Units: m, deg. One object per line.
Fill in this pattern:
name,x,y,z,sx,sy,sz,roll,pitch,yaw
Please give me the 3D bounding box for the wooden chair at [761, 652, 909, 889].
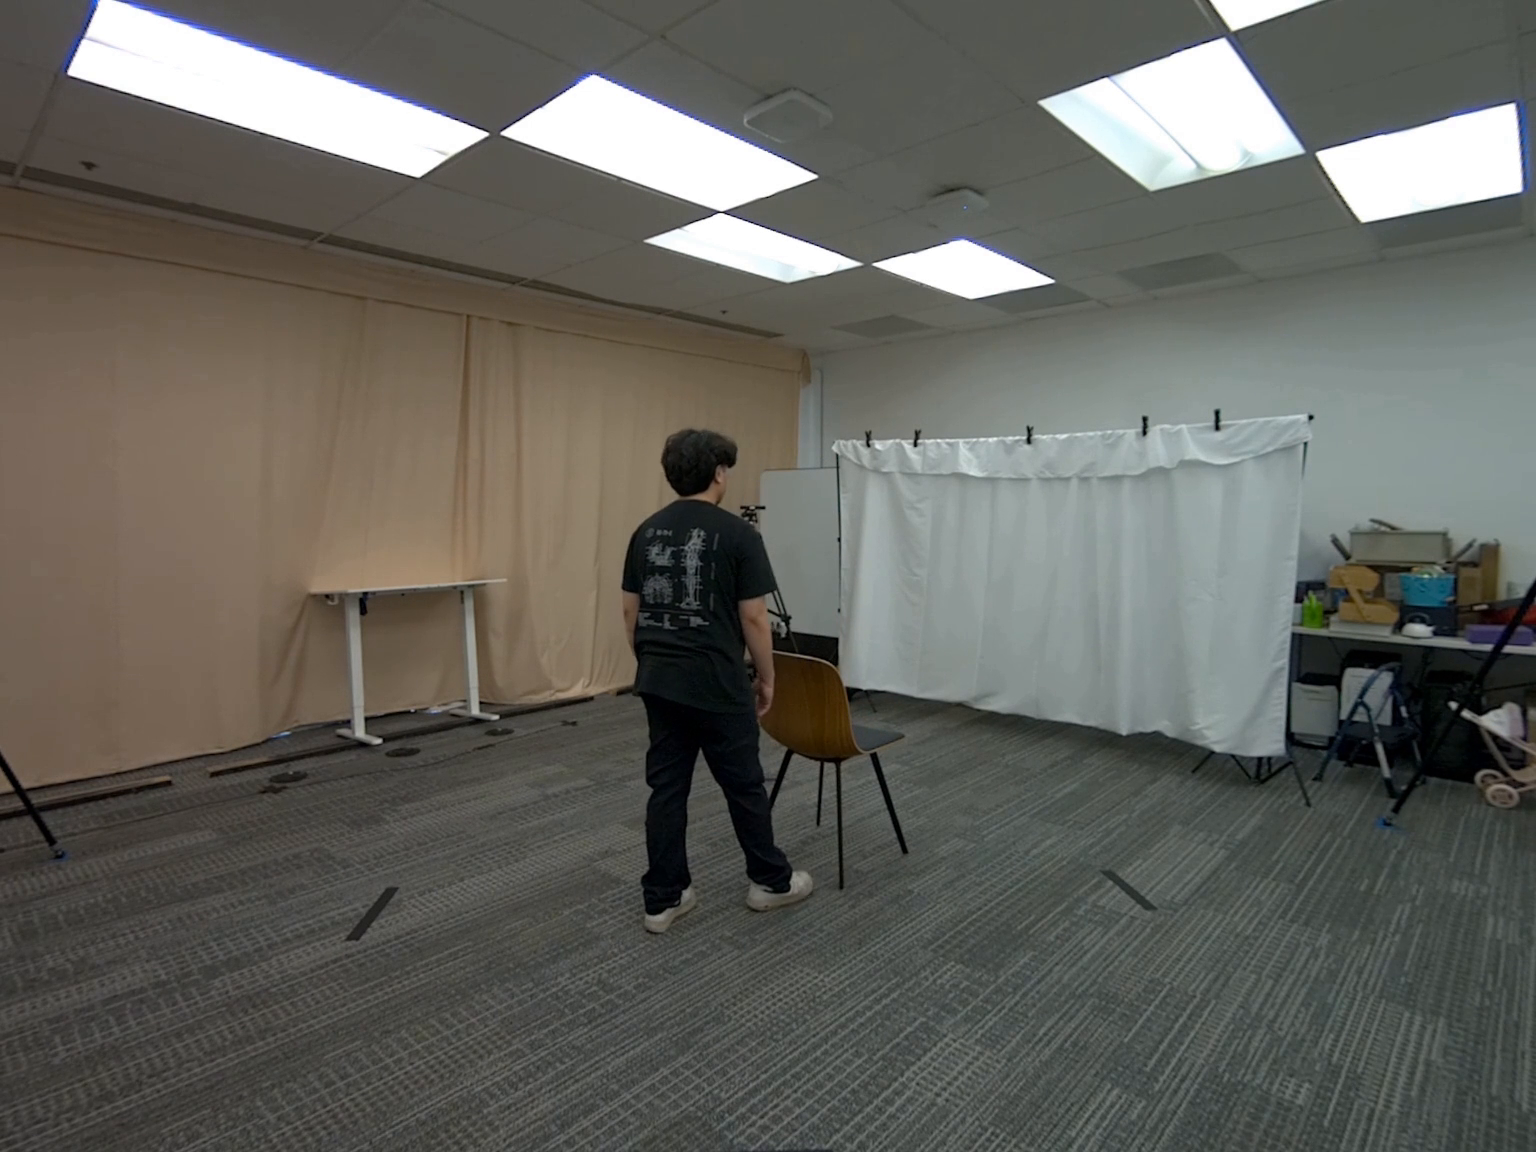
wooden chair,0.255,0.686,3.347,0.494,0.873,0.508,3,9,42
